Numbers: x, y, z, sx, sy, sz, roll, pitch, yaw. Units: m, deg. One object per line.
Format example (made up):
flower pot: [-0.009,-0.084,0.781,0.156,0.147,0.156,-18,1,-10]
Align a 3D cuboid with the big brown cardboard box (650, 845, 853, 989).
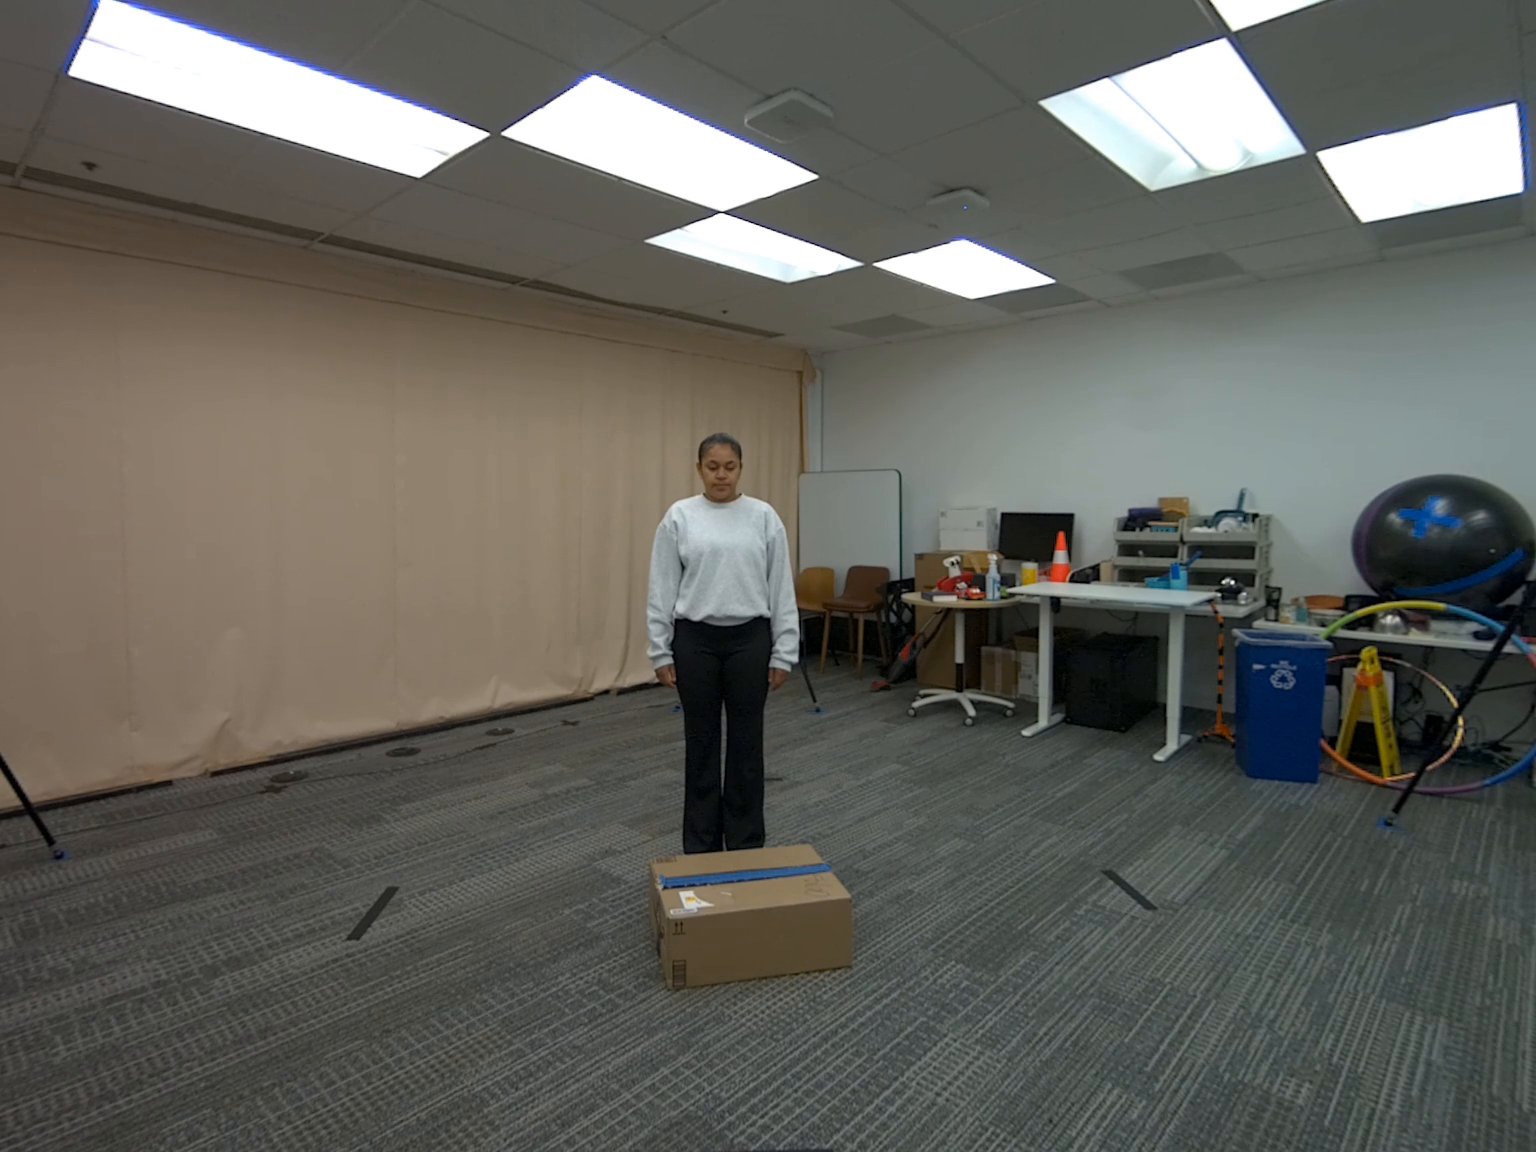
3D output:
big brown cardboard box: [-0.070,1.057,2.666,0.581,0.232,0.424,0,4,-14]
